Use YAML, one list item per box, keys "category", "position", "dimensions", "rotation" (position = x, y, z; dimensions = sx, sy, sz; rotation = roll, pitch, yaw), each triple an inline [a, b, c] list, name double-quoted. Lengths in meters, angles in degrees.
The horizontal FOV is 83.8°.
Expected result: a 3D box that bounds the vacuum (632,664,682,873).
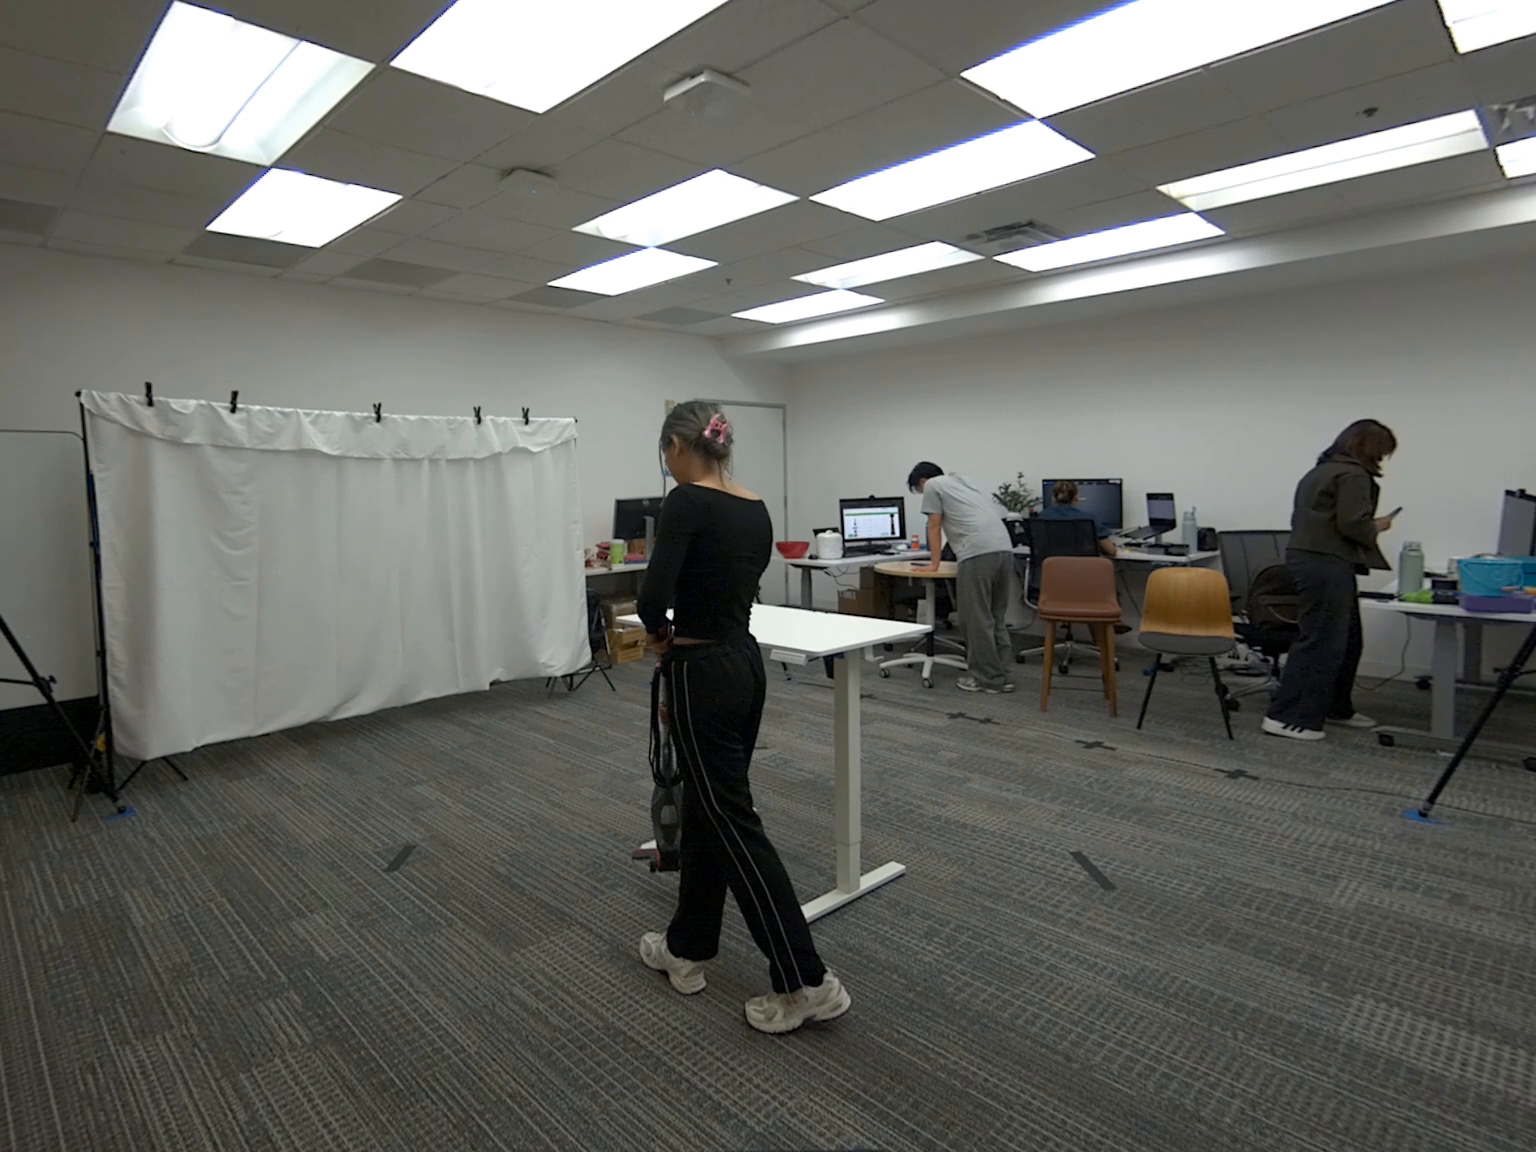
- category: "vacuum"
  position: [-0.302, 0.546, 2.534]
  dimensions: [0.251, 1.024, 0.148]
  rotation: [-1, 36, -5]
